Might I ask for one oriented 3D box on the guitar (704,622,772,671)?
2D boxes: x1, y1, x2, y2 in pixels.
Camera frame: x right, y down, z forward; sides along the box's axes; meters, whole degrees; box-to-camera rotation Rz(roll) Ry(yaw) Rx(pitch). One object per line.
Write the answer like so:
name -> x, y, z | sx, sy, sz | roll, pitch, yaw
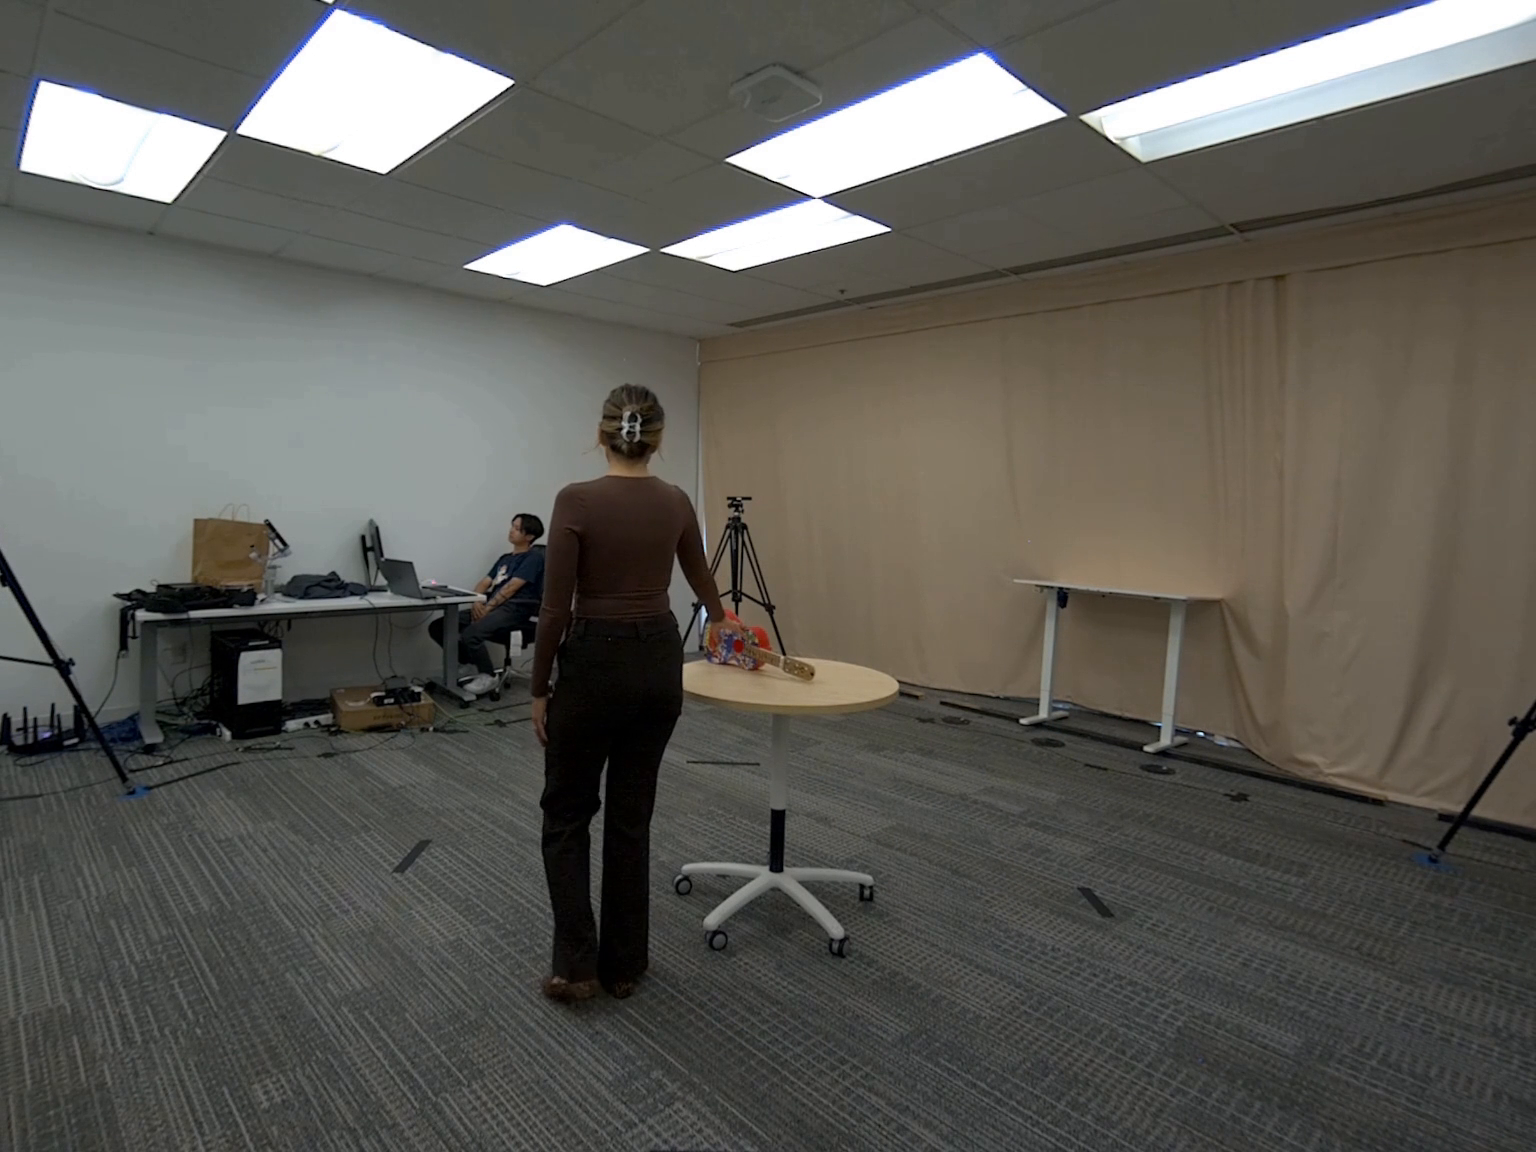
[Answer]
guitar -> -0.046, 0.289, 2.906 | 0.513, 0.191, 0.069 | 27, 19, 36
